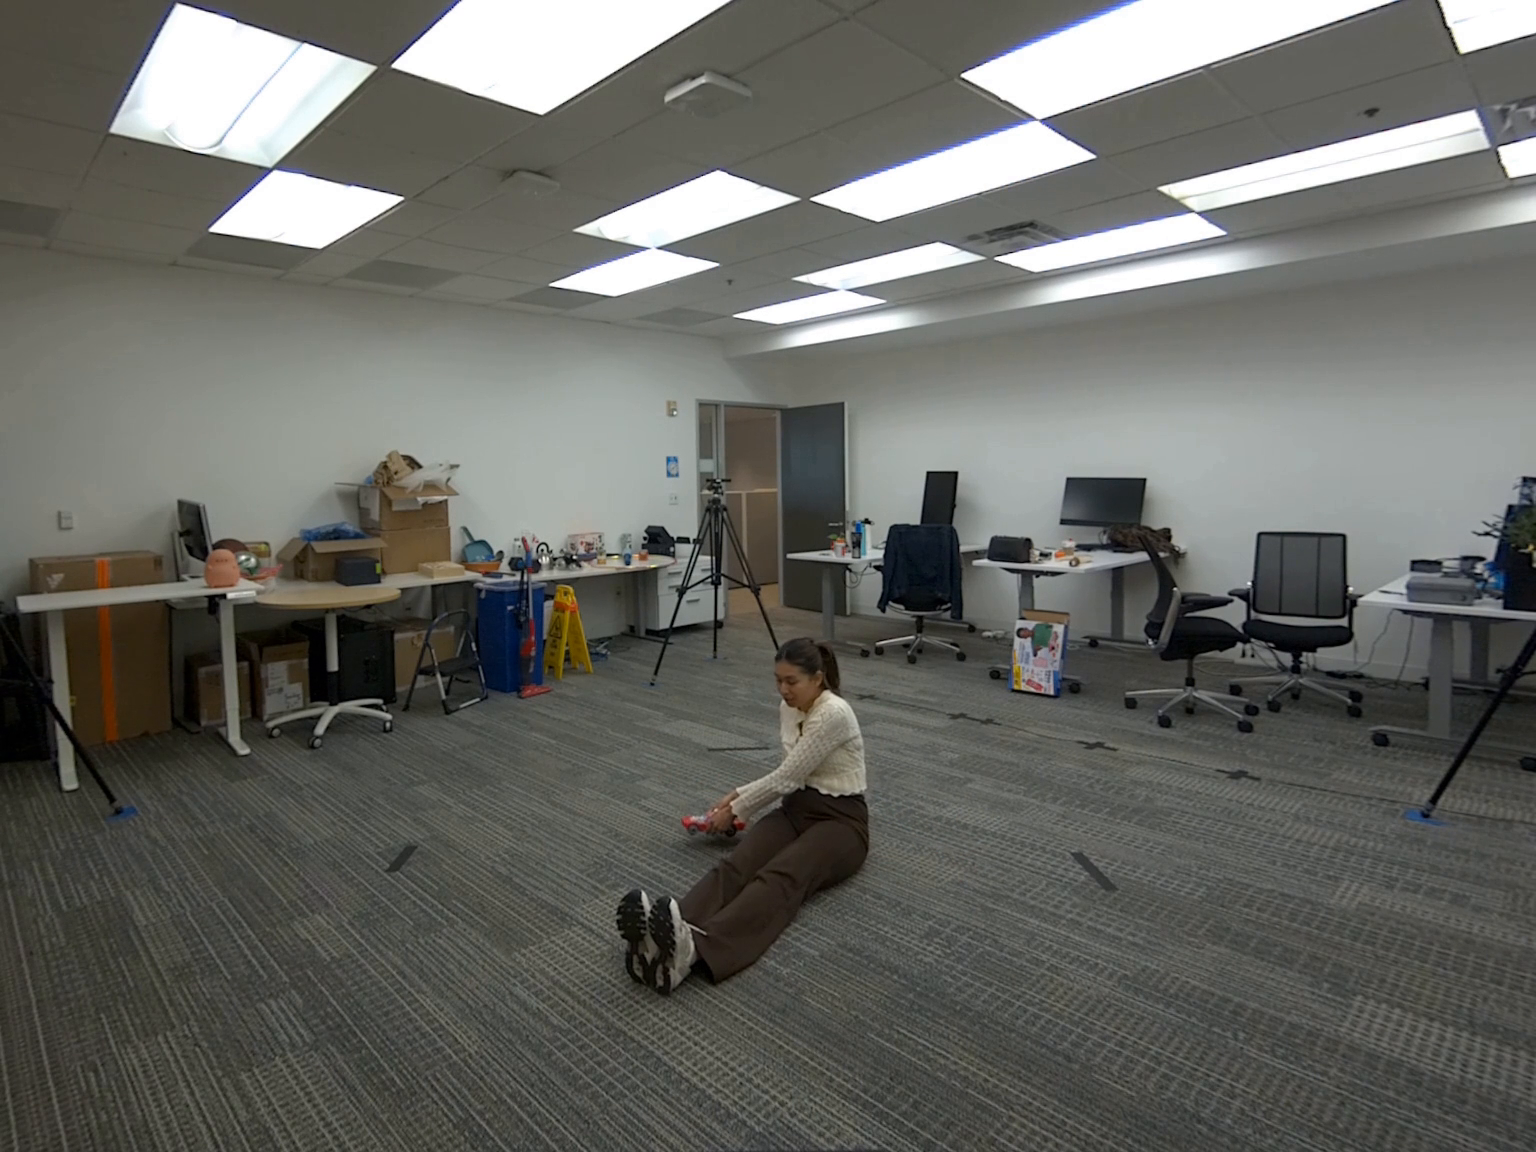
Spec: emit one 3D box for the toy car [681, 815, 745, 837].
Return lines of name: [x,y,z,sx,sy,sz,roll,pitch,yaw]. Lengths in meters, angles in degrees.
toy car: [-0.200,0.956,3.290,0.251,0.083,0.131,-4,-3,-14]
